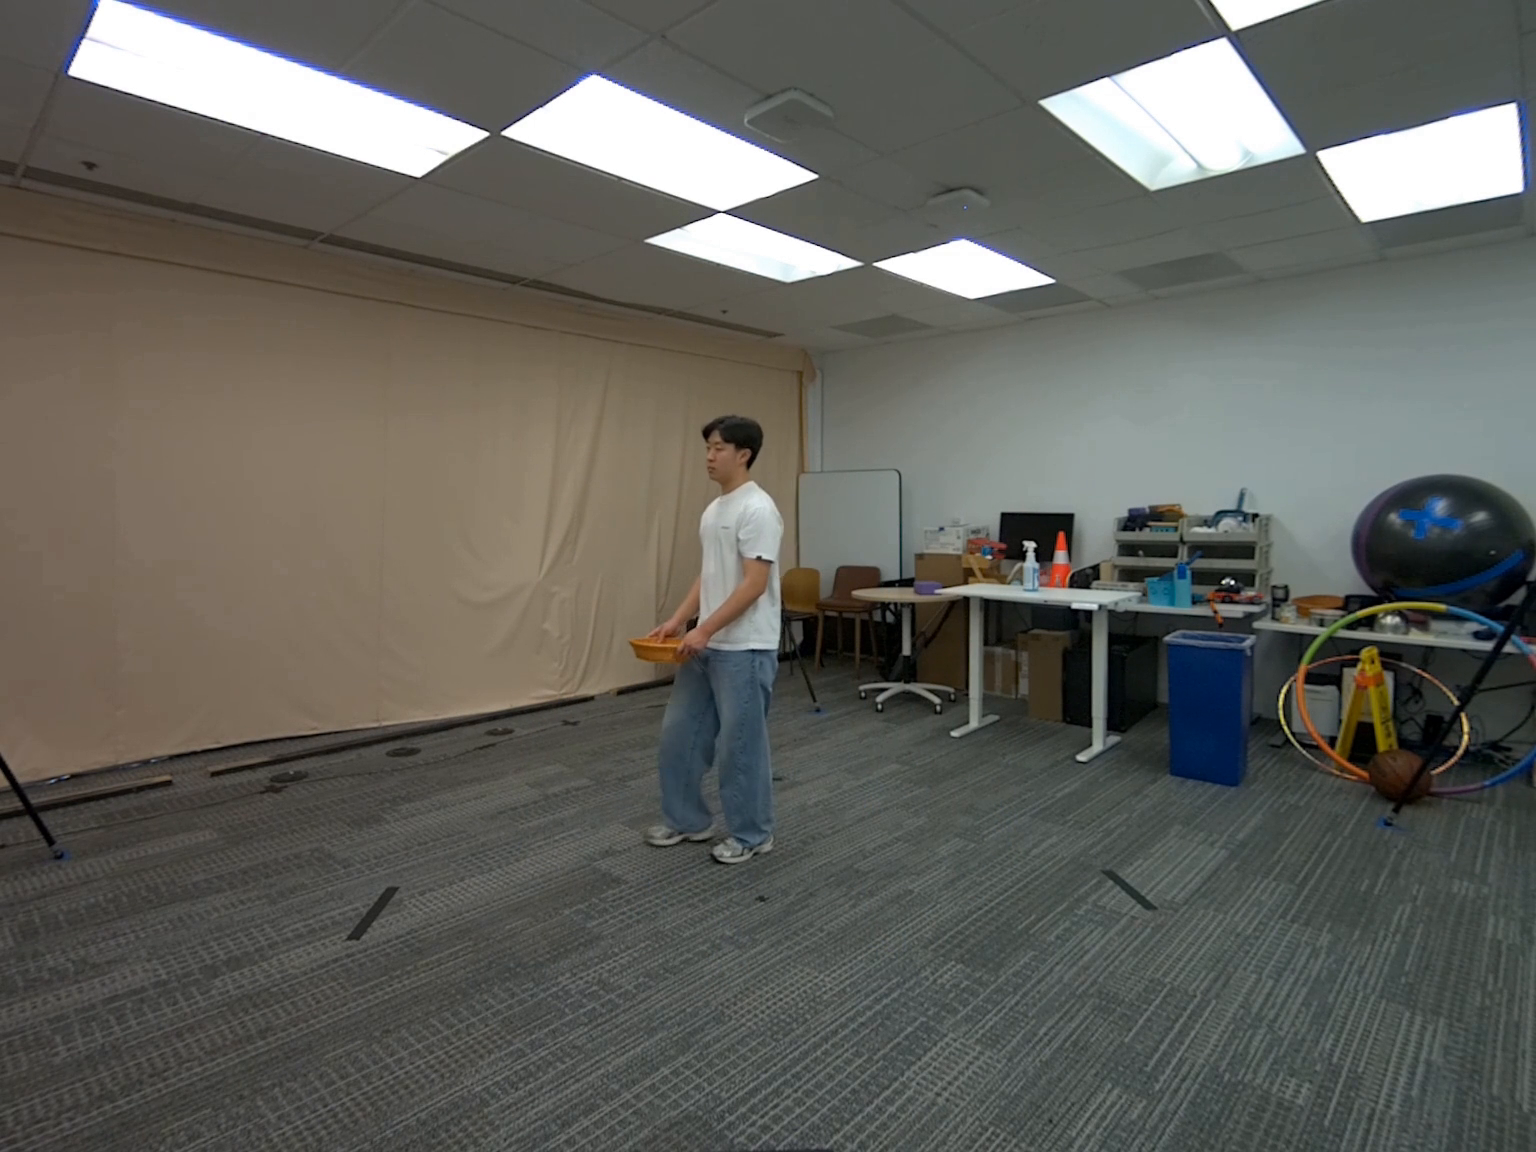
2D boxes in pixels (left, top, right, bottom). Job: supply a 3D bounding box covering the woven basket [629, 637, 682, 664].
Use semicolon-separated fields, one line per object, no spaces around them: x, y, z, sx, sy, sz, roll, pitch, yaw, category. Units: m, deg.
-0.396;0.297;3.282;0.246;0.073;0.360;1;1;-29;woven basket
